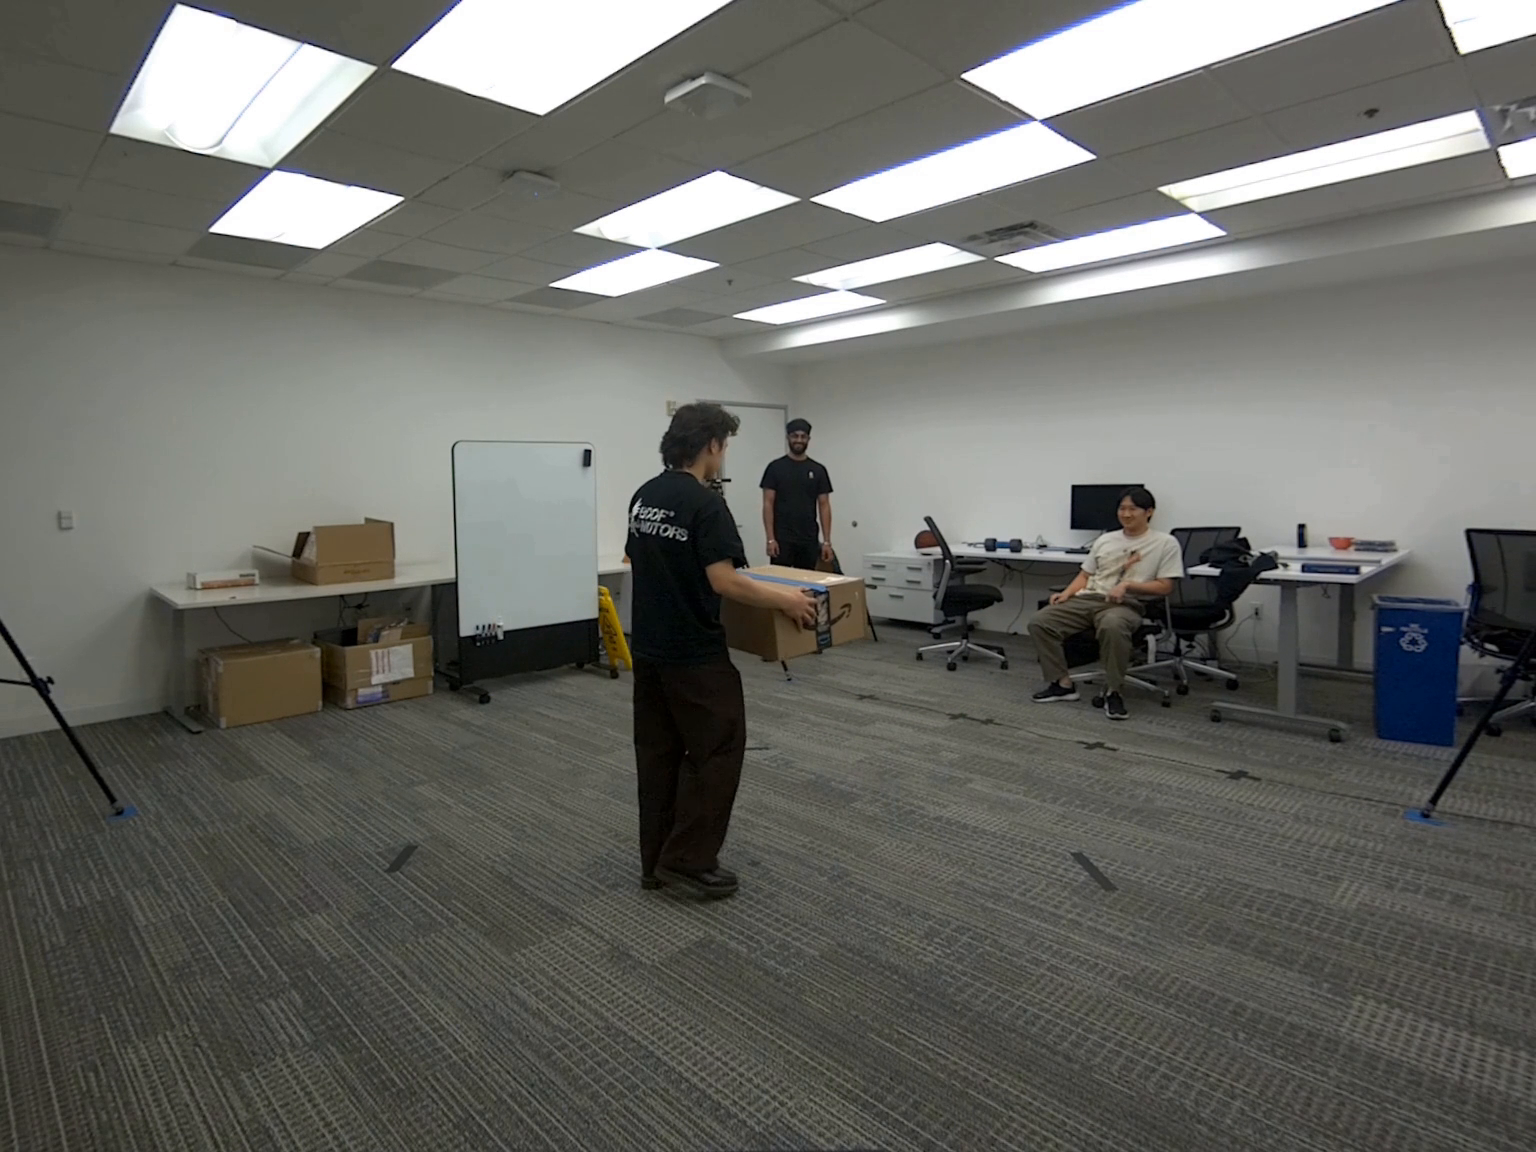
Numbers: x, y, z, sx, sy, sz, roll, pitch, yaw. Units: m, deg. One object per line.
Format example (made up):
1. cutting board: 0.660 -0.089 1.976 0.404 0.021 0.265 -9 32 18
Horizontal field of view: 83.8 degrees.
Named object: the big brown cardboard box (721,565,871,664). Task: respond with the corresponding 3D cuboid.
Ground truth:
1. big brown cardboard box: 0.035 0.123 3.183 0.409 0.231 0.606 -12 11 -34
